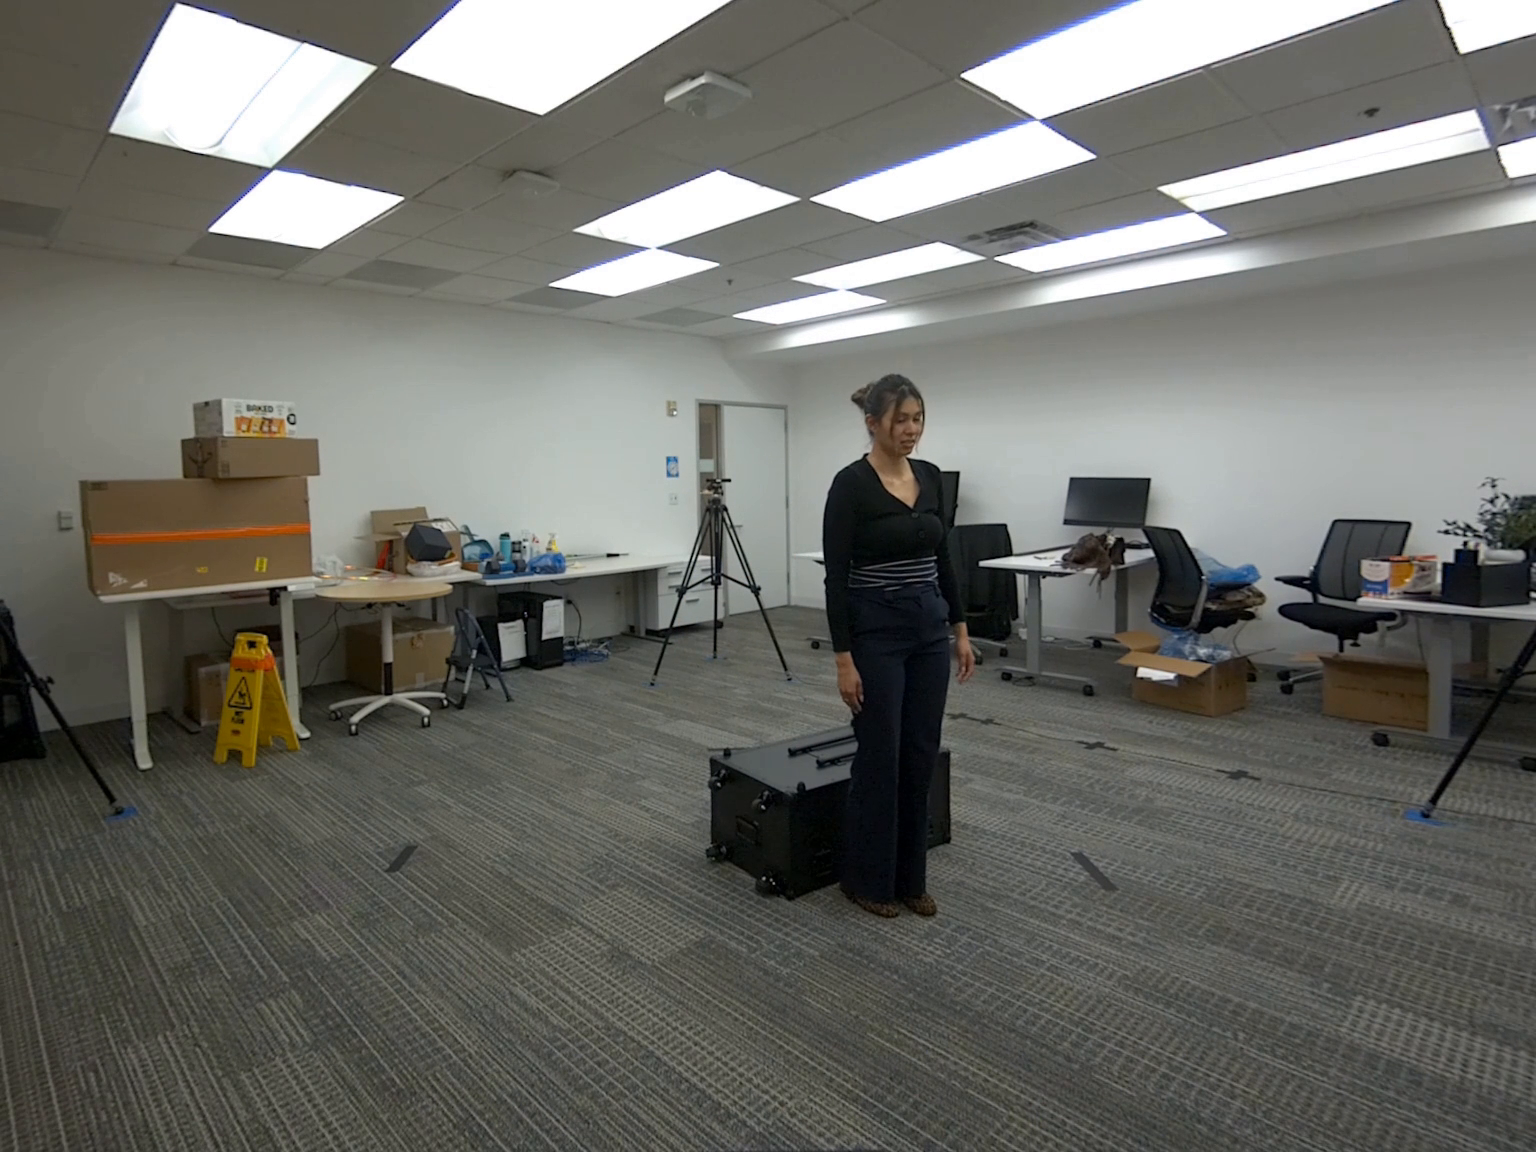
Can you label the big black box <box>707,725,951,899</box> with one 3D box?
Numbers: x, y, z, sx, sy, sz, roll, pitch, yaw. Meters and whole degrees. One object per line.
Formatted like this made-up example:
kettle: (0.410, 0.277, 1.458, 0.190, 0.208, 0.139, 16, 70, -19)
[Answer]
big black box: (0.262, 0.847, 3.238, 0.840, 0.394, 0.537, -5, 7, -35)
